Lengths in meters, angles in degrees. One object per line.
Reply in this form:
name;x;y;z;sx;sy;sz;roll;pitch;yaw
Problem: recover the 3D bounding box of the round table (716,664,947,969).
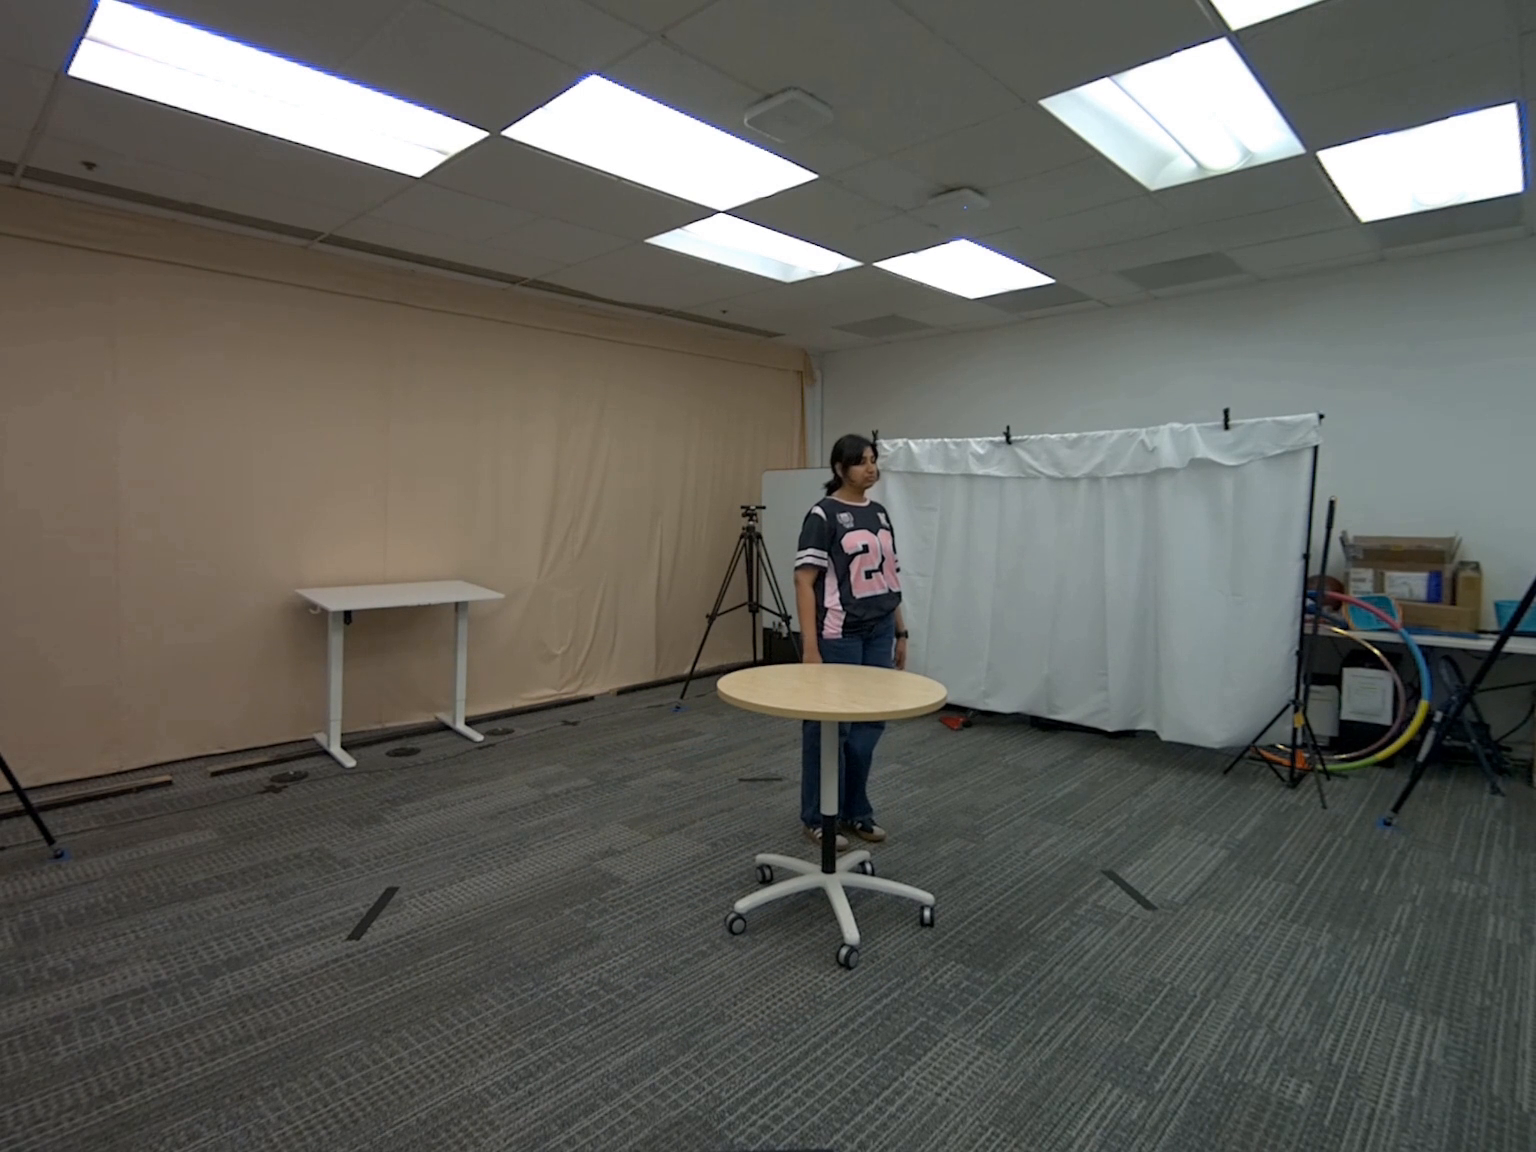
round table;0.204;0.765;2.865;0.763;0.792;0.767;0;4;-2
